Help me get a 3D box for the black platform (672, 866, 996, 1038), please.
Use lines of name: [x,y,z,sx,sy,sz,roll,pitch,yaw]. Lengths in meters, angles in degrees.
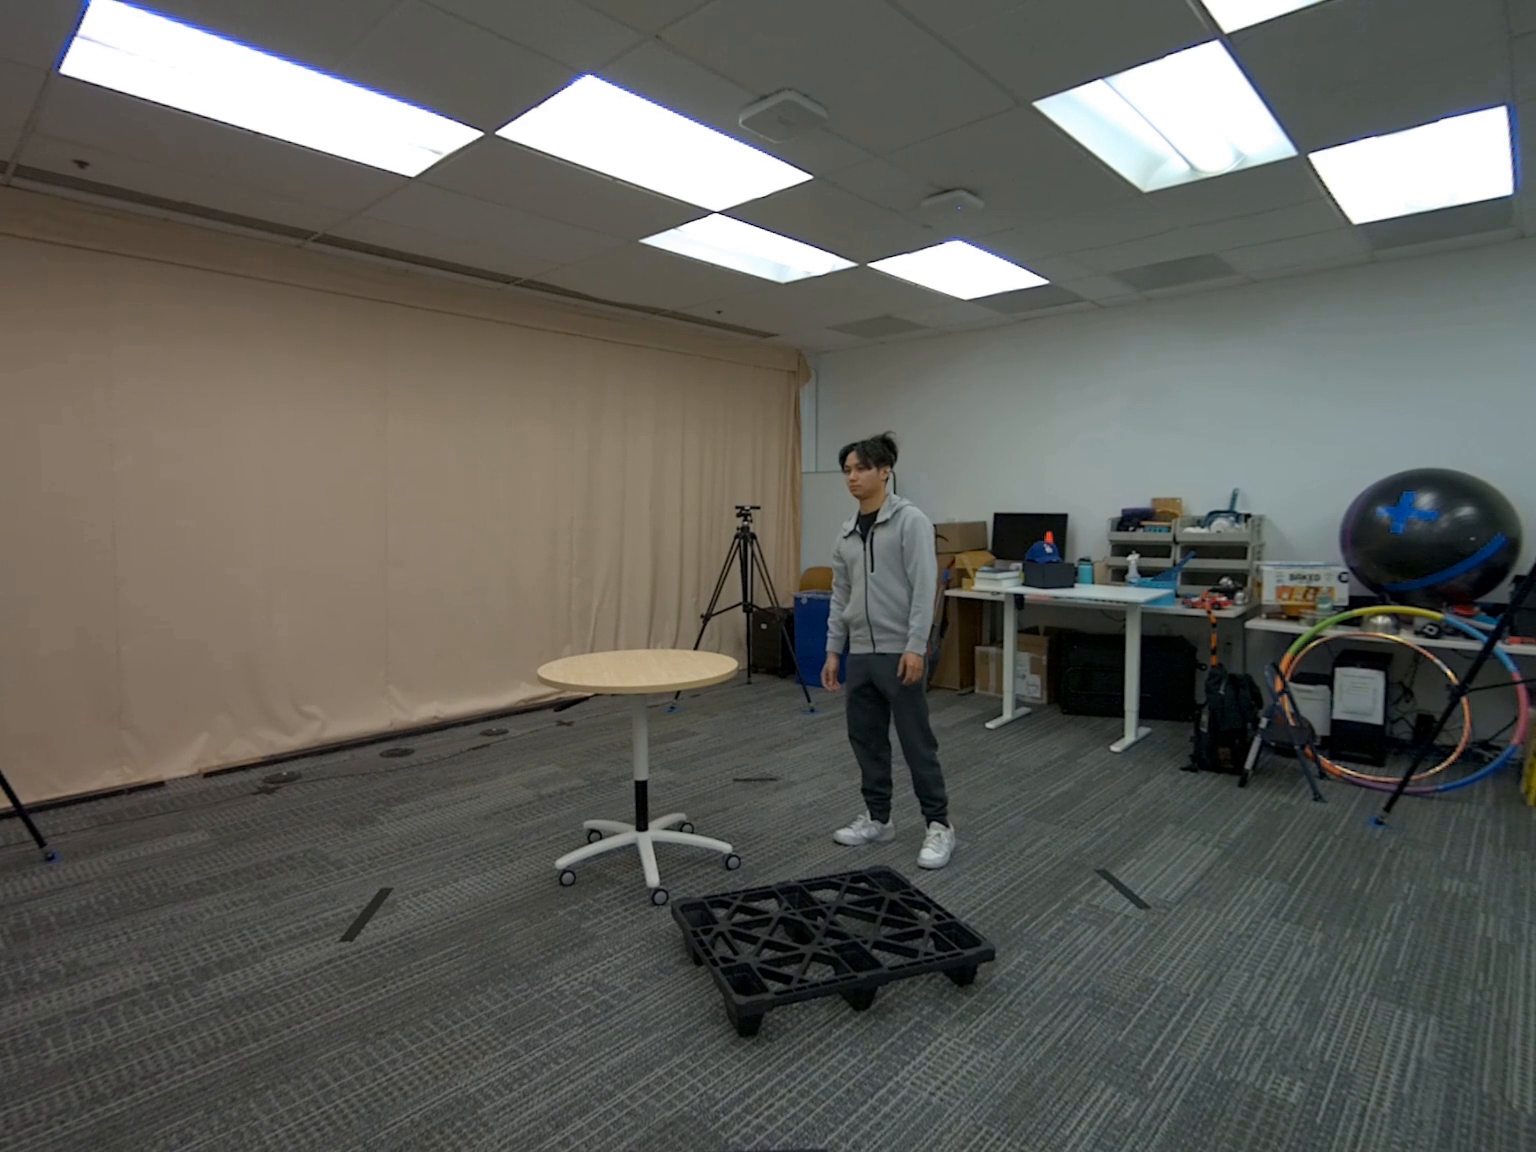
black platform: [0.166,1.113,2.544,0.789,0.143,0.619,-2,4,-21]
